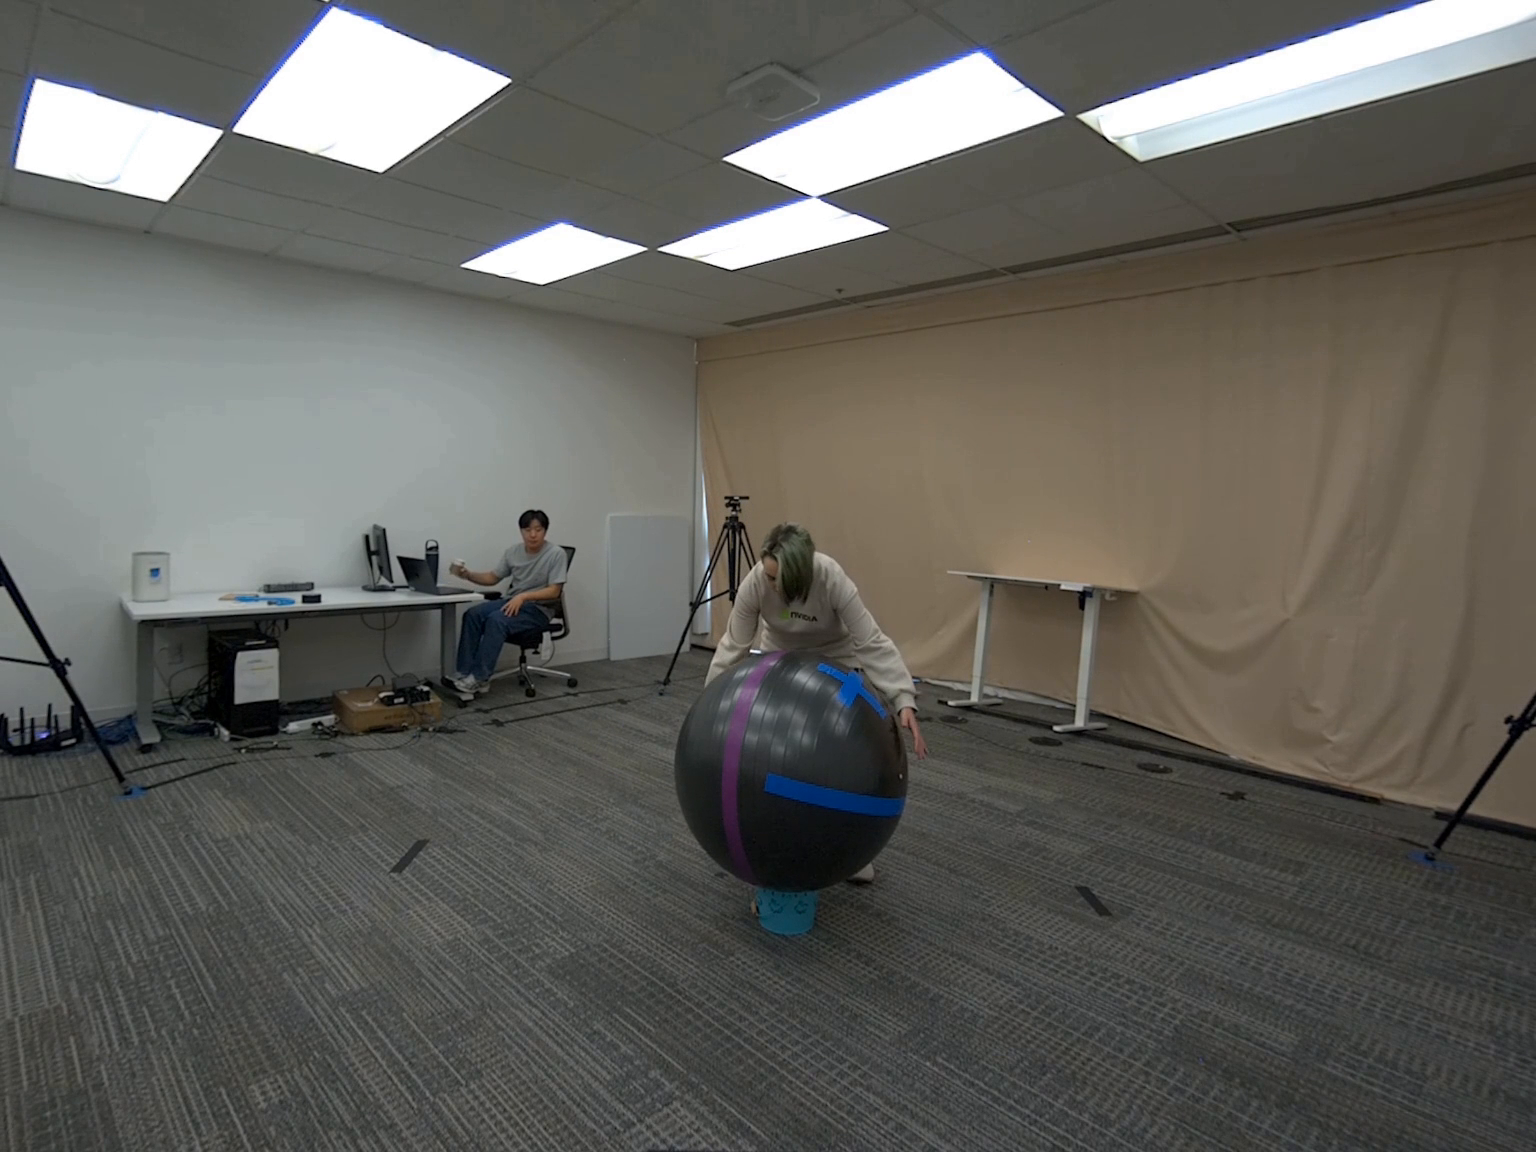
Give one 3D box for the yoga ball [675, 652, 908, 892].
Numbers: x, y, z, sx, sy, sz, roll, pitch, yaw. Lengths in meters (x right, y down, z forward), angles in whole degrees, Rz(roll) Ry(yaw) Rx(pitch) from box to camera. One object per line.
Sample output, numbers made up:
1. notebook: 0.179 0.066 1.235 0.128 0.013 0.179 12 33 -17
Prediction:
1. yoga ball: 0.071 0.635 2.751 0.757 0.756 0.761 1 4 -1
